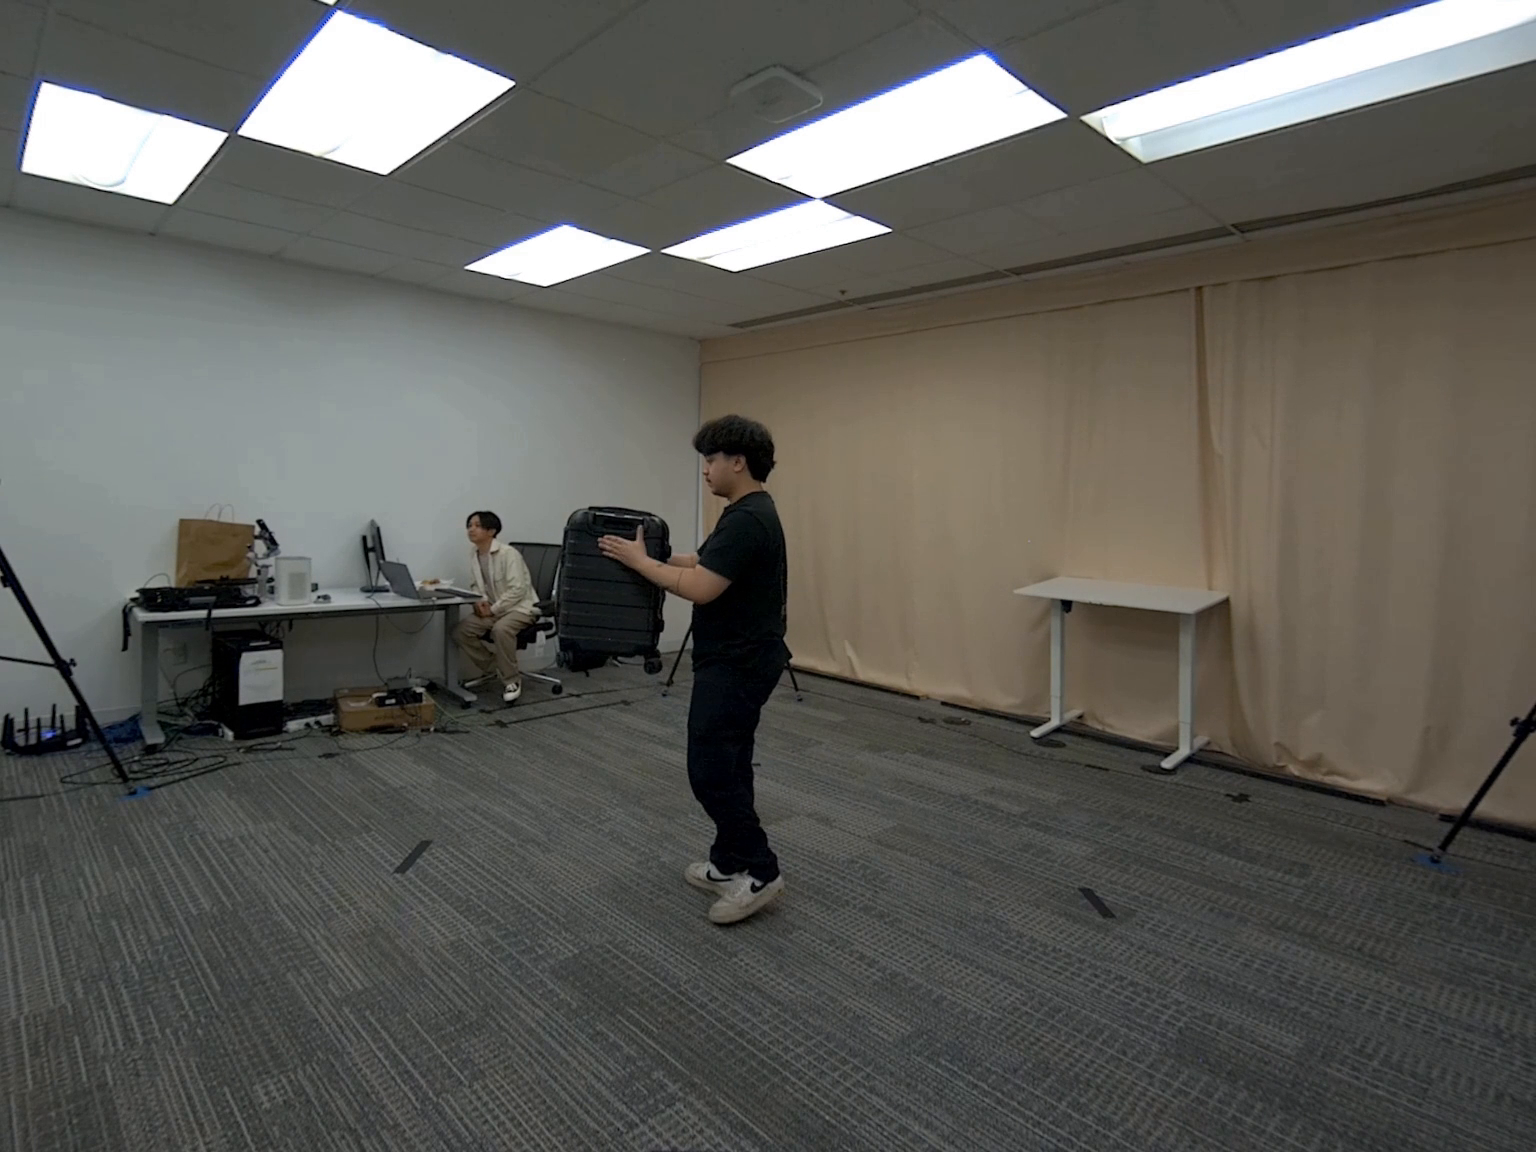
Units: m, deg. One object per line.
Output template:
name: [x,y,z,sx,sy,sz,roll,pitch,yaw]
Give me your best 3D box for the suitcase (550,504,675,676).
suitcase: [-0.544,0.038,2.954,0.373,0.548,0.251,4,3,-9]
